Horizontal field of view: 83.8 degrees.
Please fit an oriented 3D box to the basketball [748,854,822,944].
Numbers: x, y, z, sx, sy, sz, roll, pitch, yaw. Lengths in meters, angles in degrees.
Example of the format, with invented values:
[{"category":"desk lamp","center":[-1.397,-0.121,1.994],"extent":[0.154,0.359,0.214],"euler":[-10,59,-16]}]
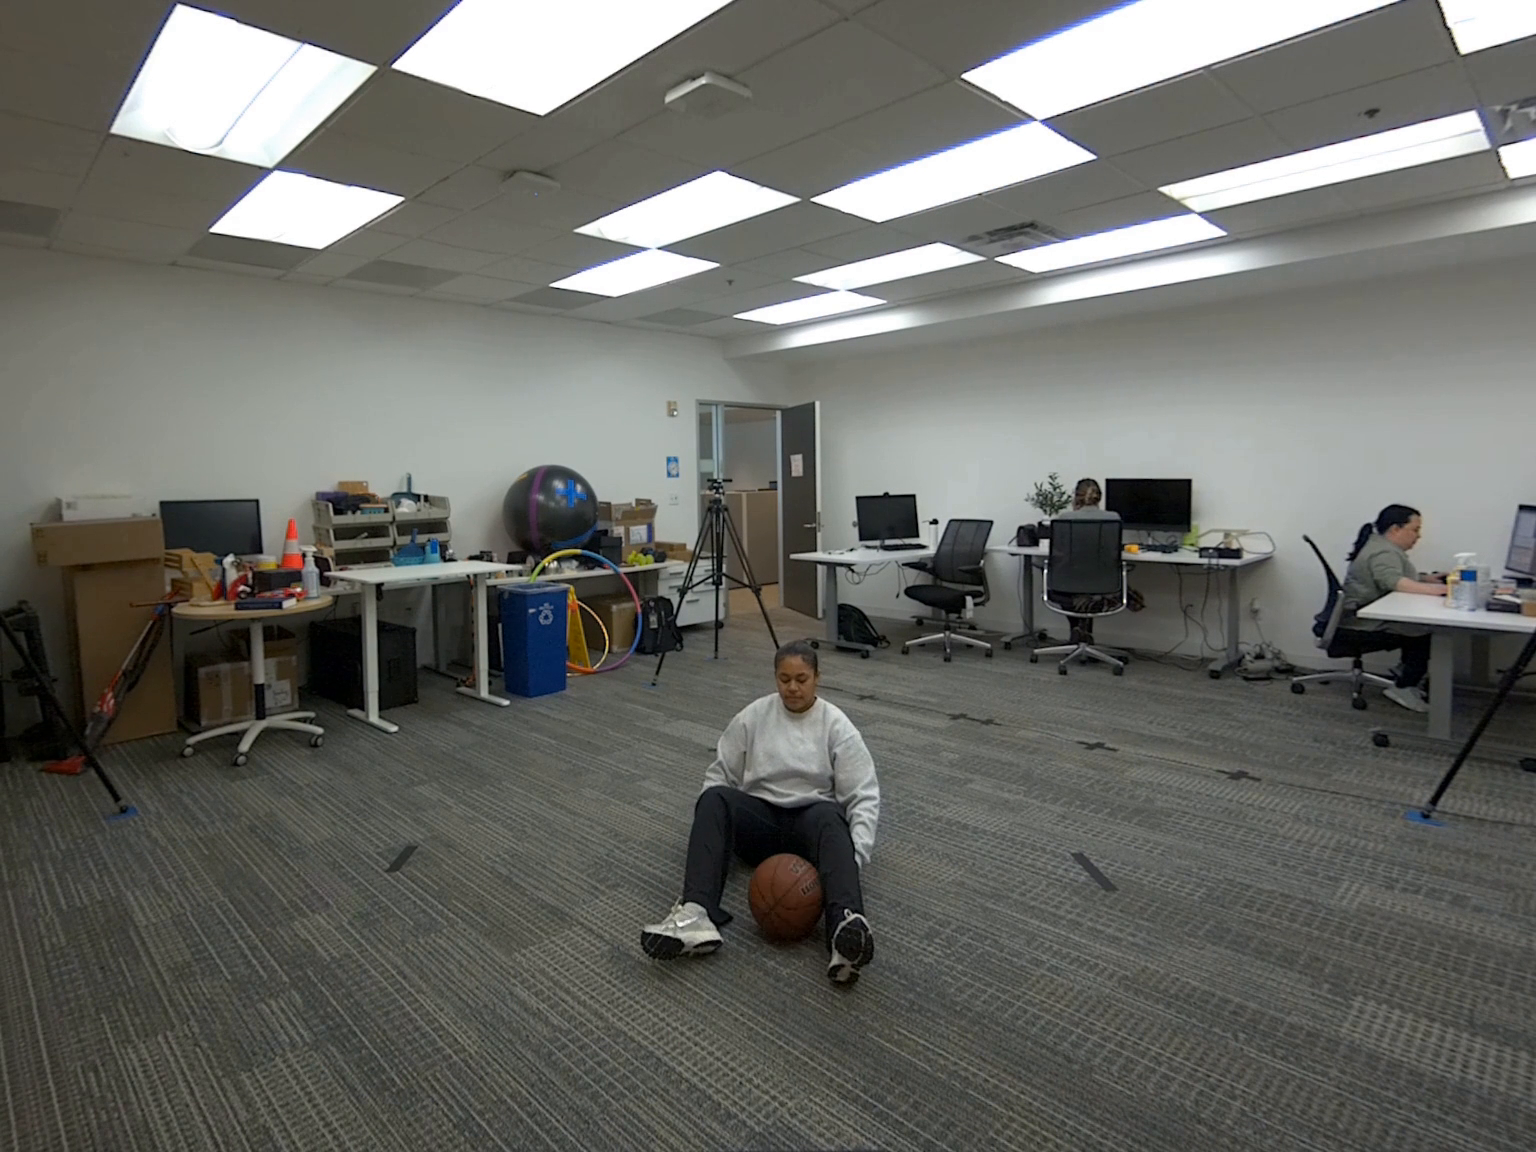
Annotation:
[{"category":"basketball","center":[0.065,0.987,2.618],"extent":[0.236,0.235,0.237],"euler":[-1,5,-2]}]
